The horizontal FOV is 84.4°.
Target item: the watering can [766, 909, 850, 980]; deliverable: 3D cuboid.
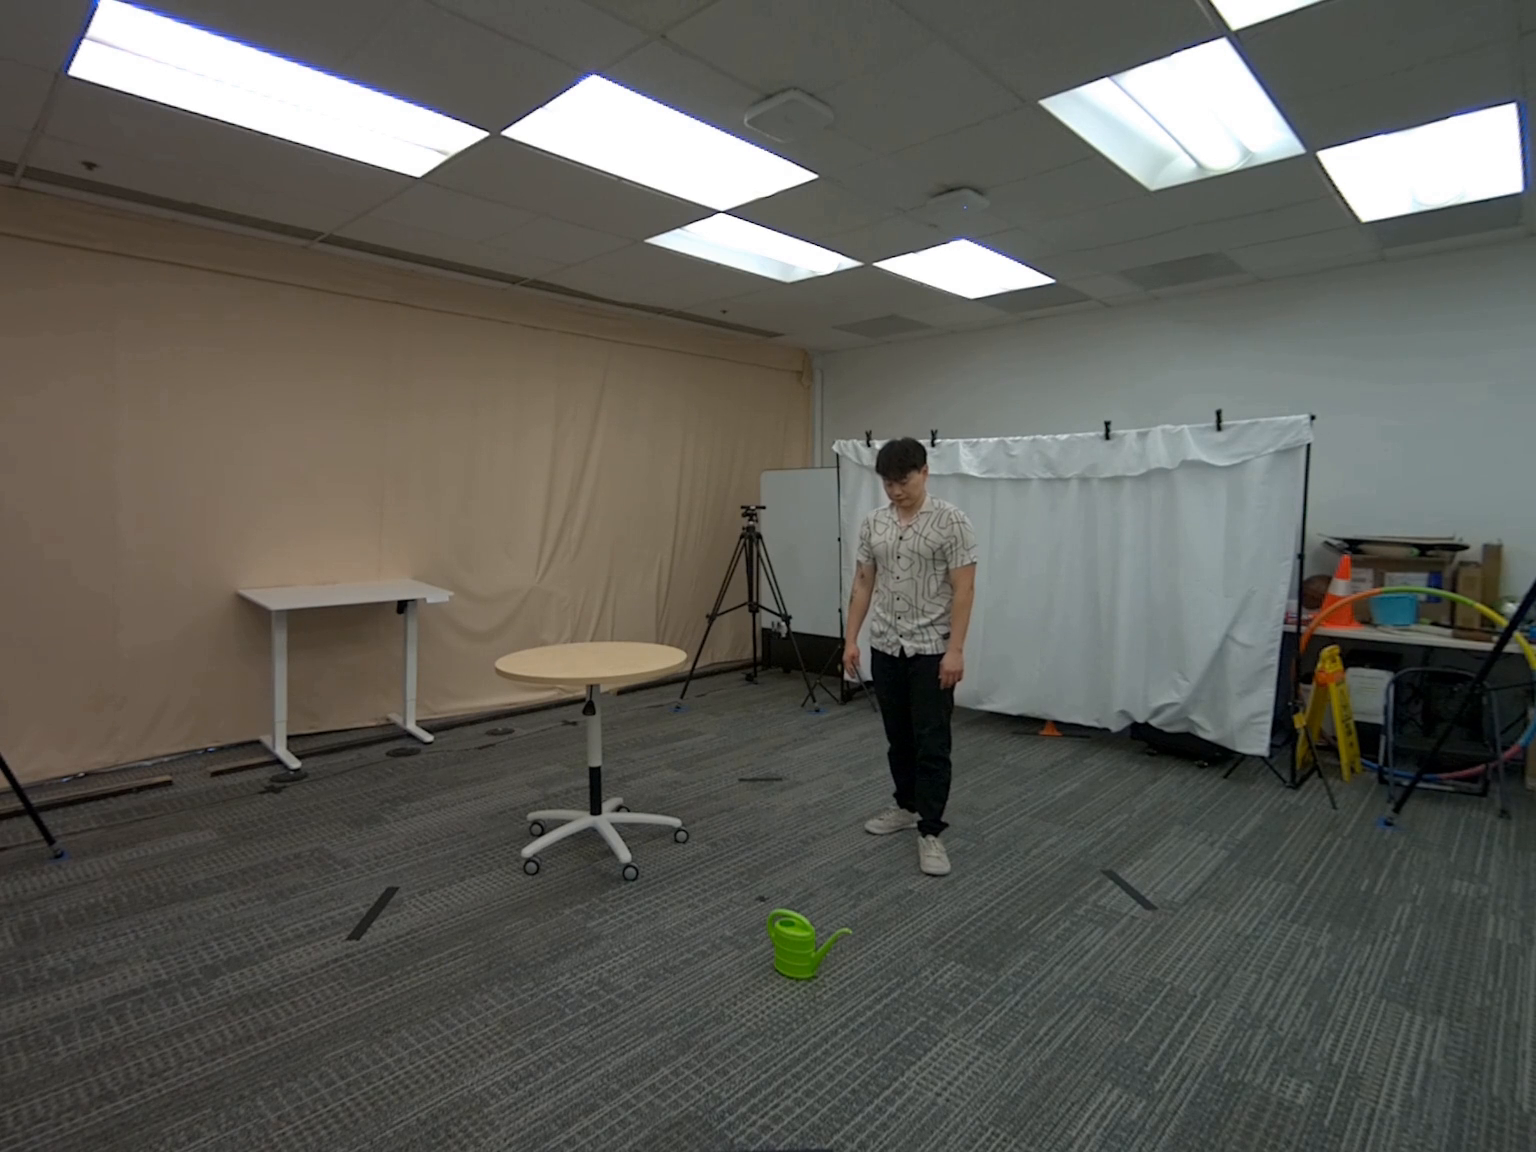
[{"bbox_3d":[0.117,1.091,2.481,0.095,0.177,0.287,-1,2,-43],"label":"watering can"}]
